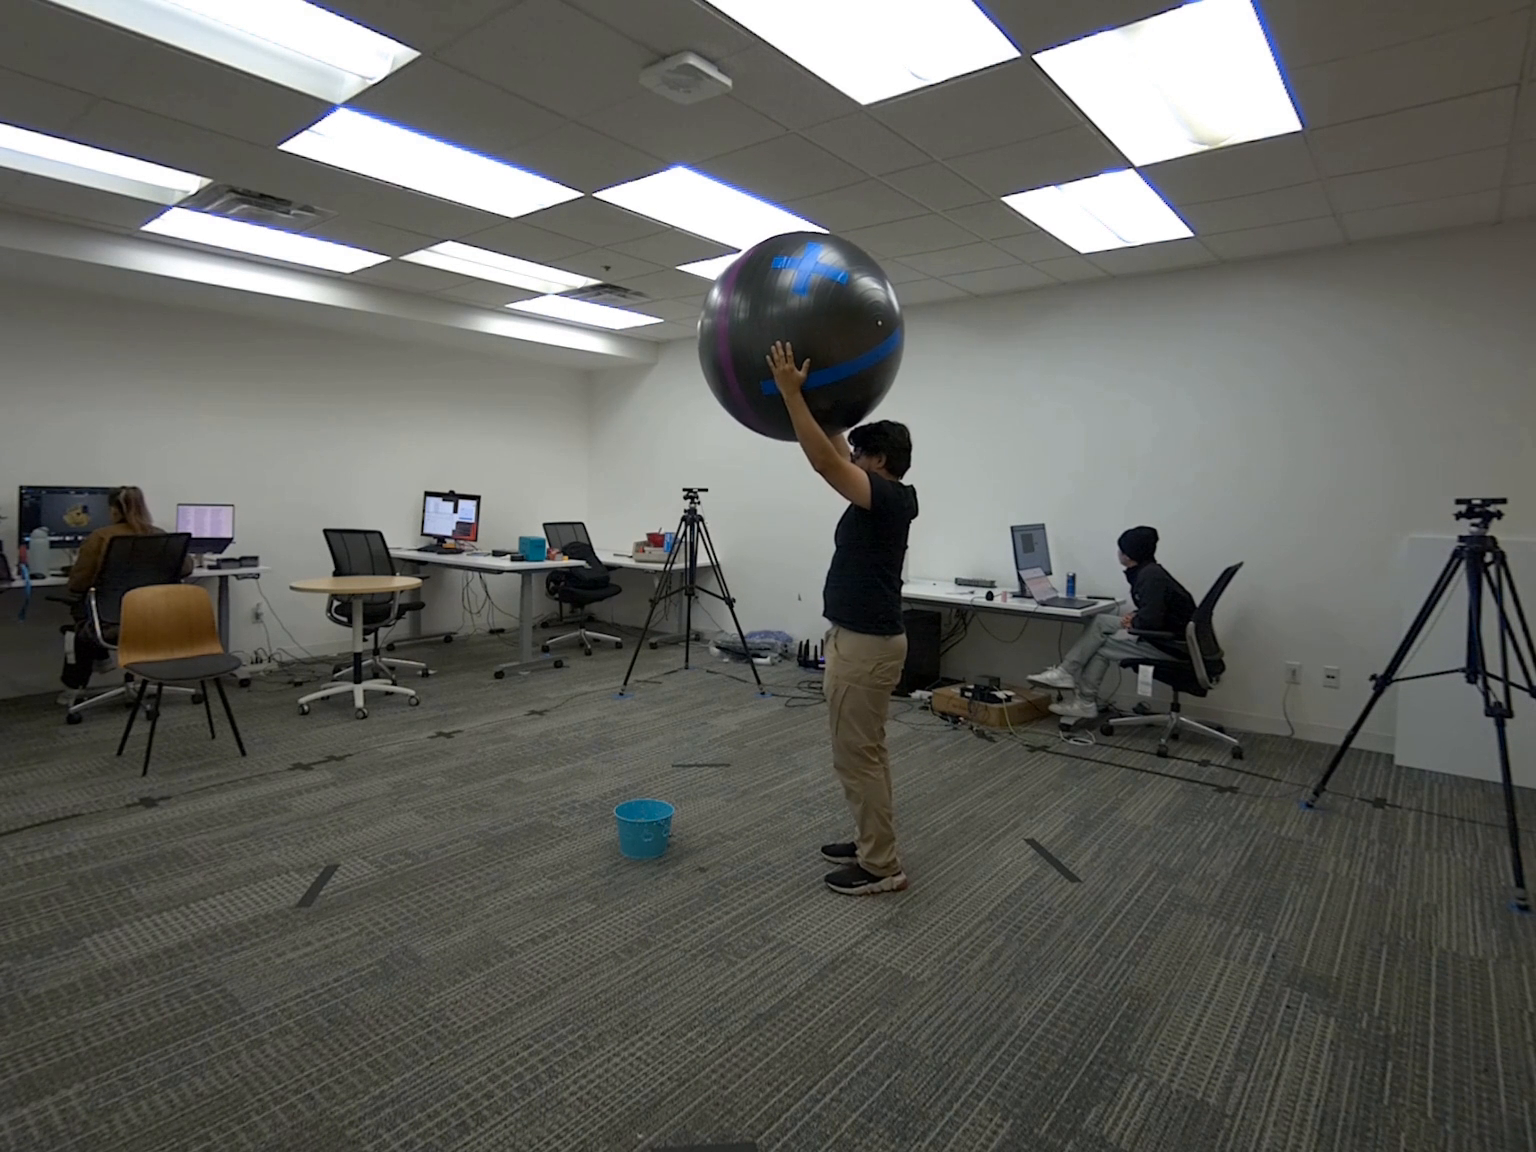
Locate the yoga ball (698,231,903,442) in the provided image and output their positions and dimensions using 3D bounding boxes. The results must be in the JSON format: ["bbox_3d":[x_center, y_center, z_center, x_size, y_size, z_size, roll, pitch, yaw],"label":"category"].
[{"bbox_3d":[0.107,-0.873,3.141,0.757,0.756,0.761,1,4,-2],"label":"yoga ball"}]
